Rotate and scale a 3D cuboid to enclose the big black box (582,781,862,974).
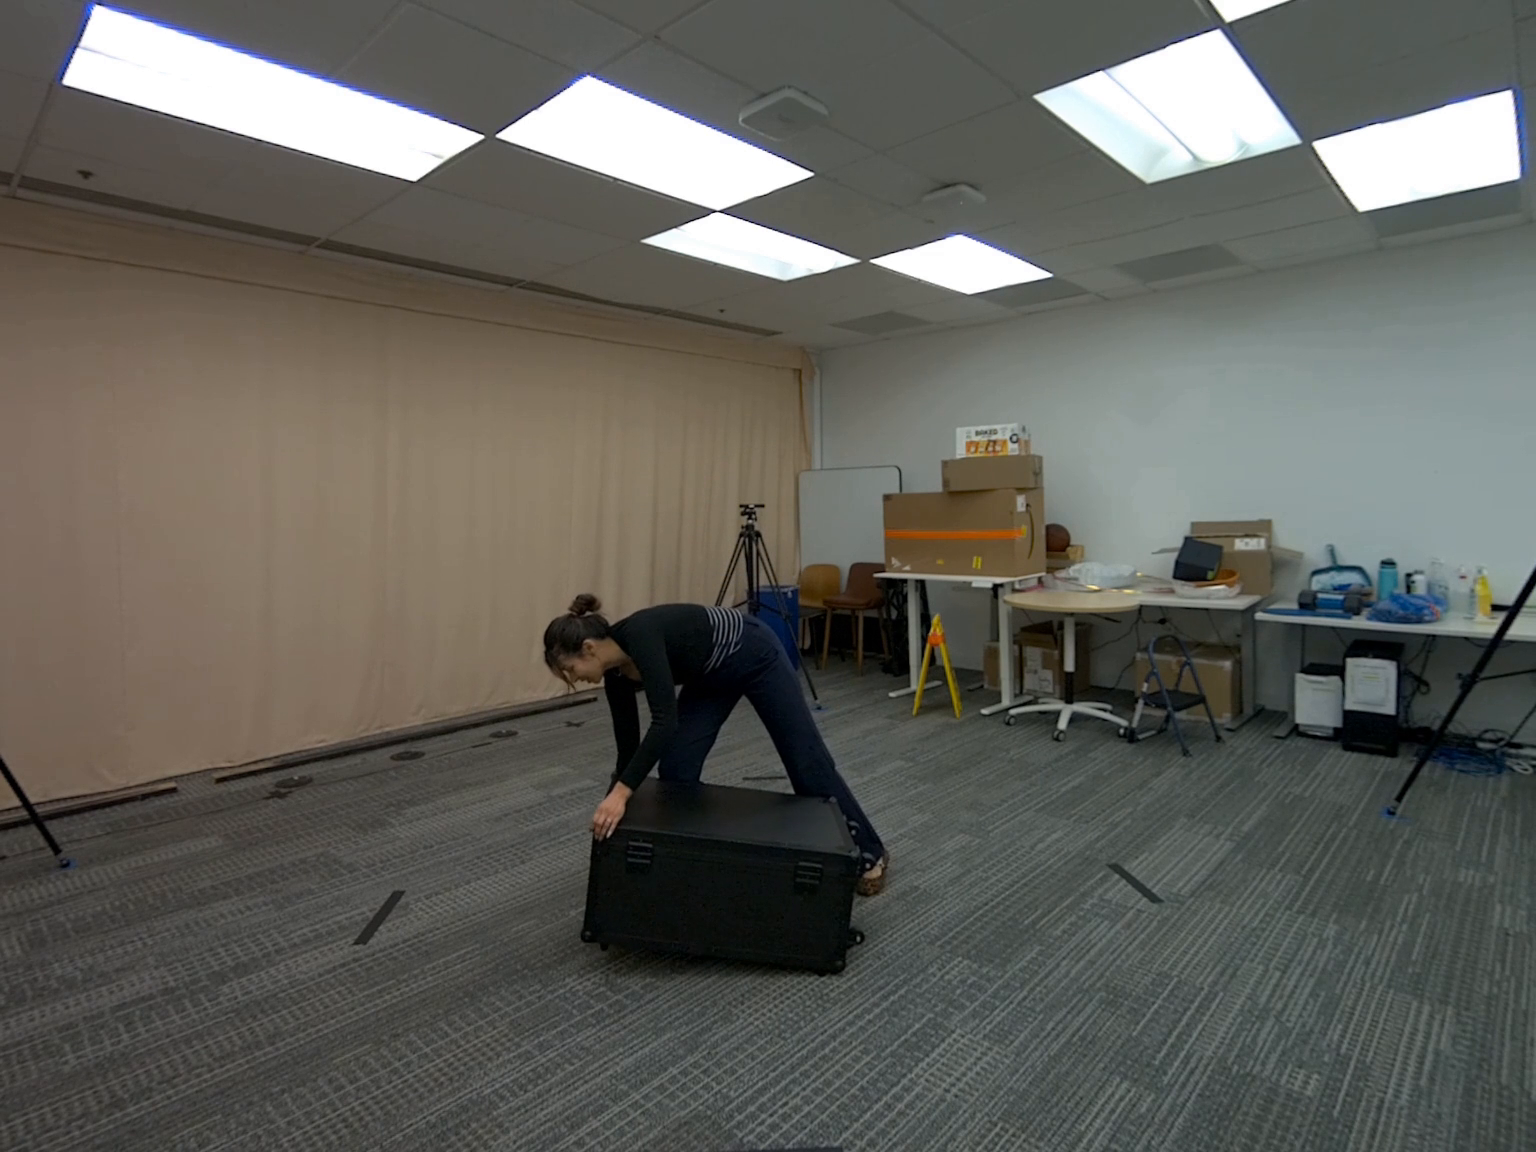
[{"bbox_3d":[-0.121,0.939,2.697,0.860,0.396,0.523,7,2,-2],"label":"big black box"}]
